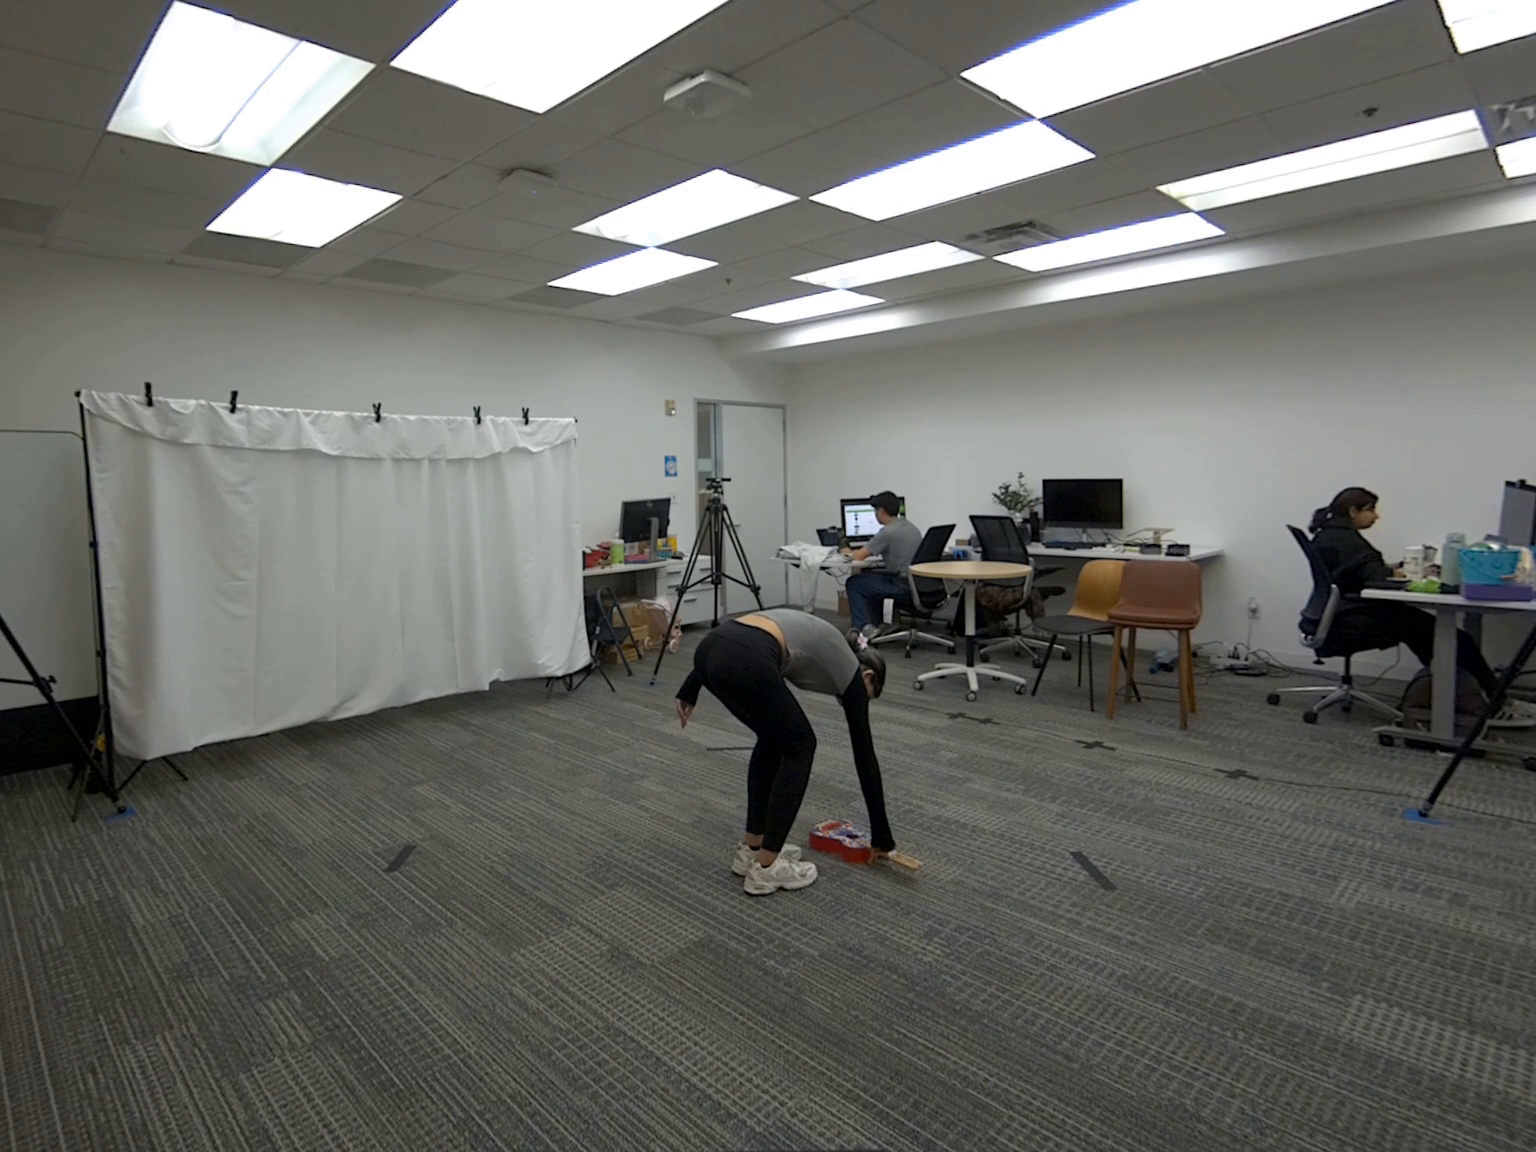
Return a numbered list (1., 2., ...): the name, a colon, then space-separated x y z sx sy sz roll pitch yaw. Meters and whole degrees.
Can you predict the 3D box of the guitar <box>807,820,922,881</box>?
1. guitar: 0.338 0.999 3.107 0.189 0.070 0.511 -4 6 -28
